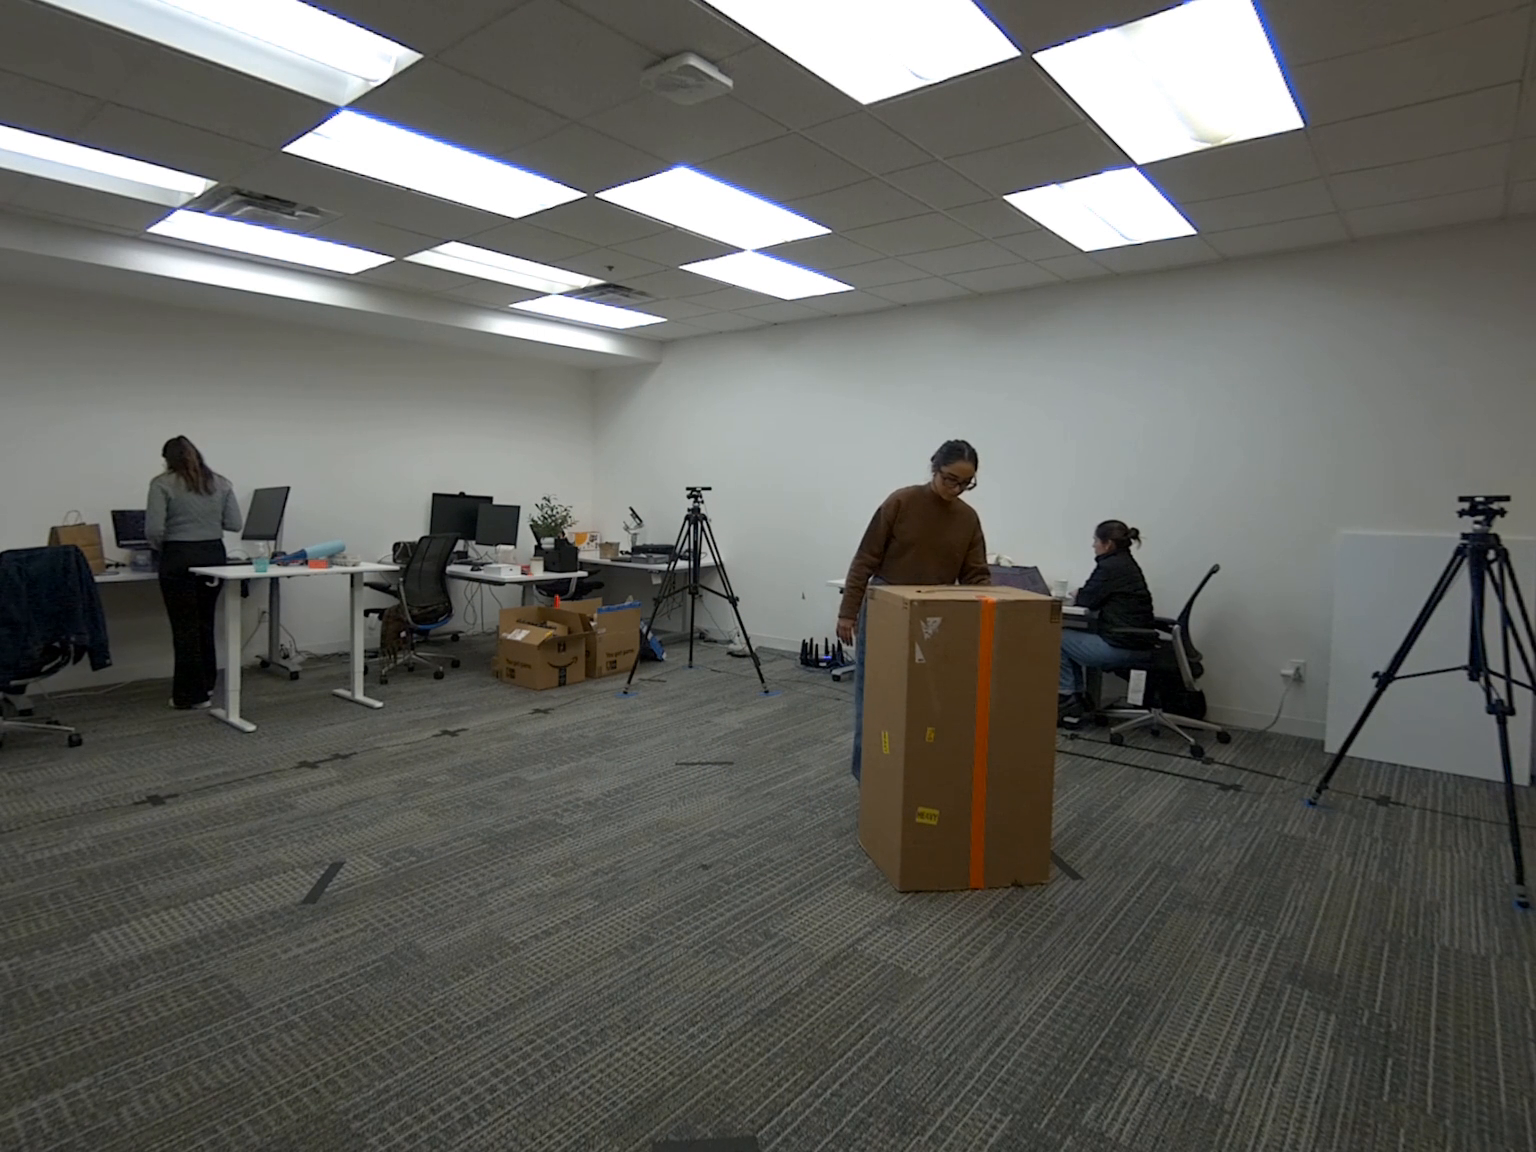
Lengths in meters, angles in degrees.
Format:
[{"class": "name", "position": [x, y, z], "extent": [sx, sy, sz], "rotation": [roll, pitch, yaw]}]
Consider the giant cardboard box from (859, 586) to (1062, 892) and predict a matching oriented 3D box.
[{"class": "giant cardboard box", "position": [0.696, 0.569, 3.175], "extent": [0.570, 1.023, 0.433], "rotation": [2, 3, -12]}]
